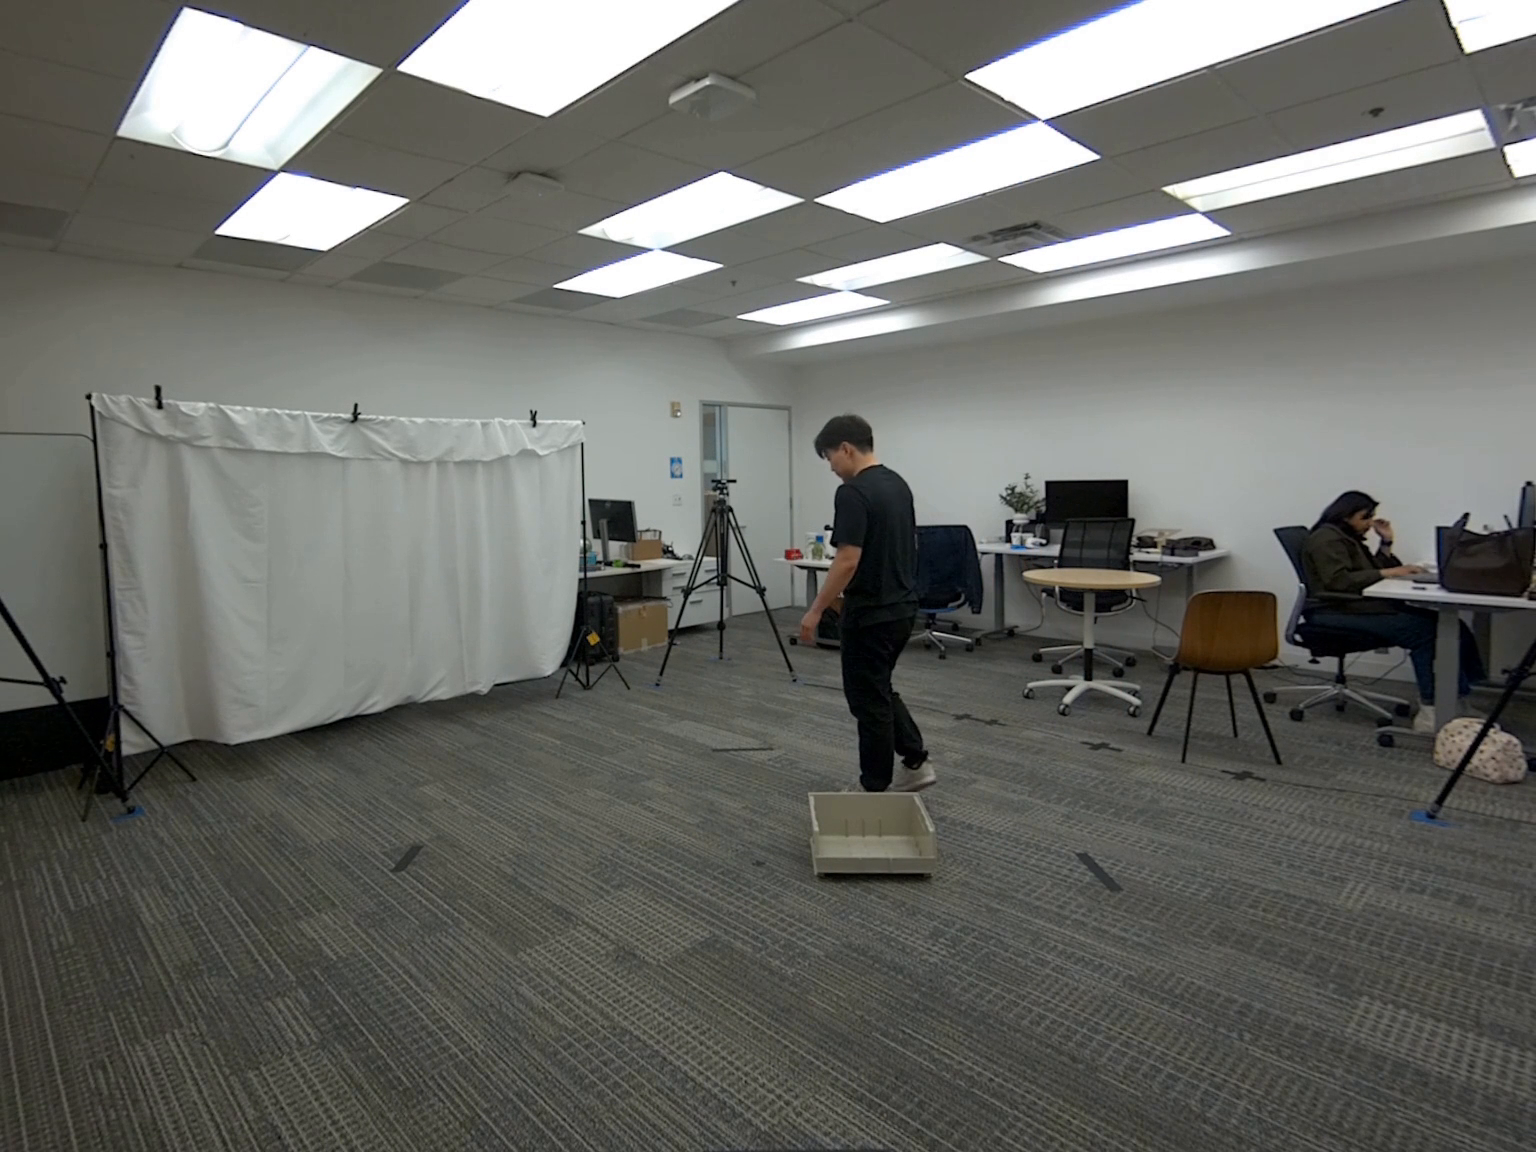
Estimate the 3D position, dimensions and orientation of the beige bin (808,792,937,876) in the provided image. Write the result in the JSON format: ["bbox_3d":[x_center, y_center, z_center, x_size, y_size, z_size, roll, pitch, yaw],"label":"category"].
[{"bbox_3d":[0.372,0.964,3.121,0.423,0.189,0.377,-1,3,1],"label":"beige bin"}]
